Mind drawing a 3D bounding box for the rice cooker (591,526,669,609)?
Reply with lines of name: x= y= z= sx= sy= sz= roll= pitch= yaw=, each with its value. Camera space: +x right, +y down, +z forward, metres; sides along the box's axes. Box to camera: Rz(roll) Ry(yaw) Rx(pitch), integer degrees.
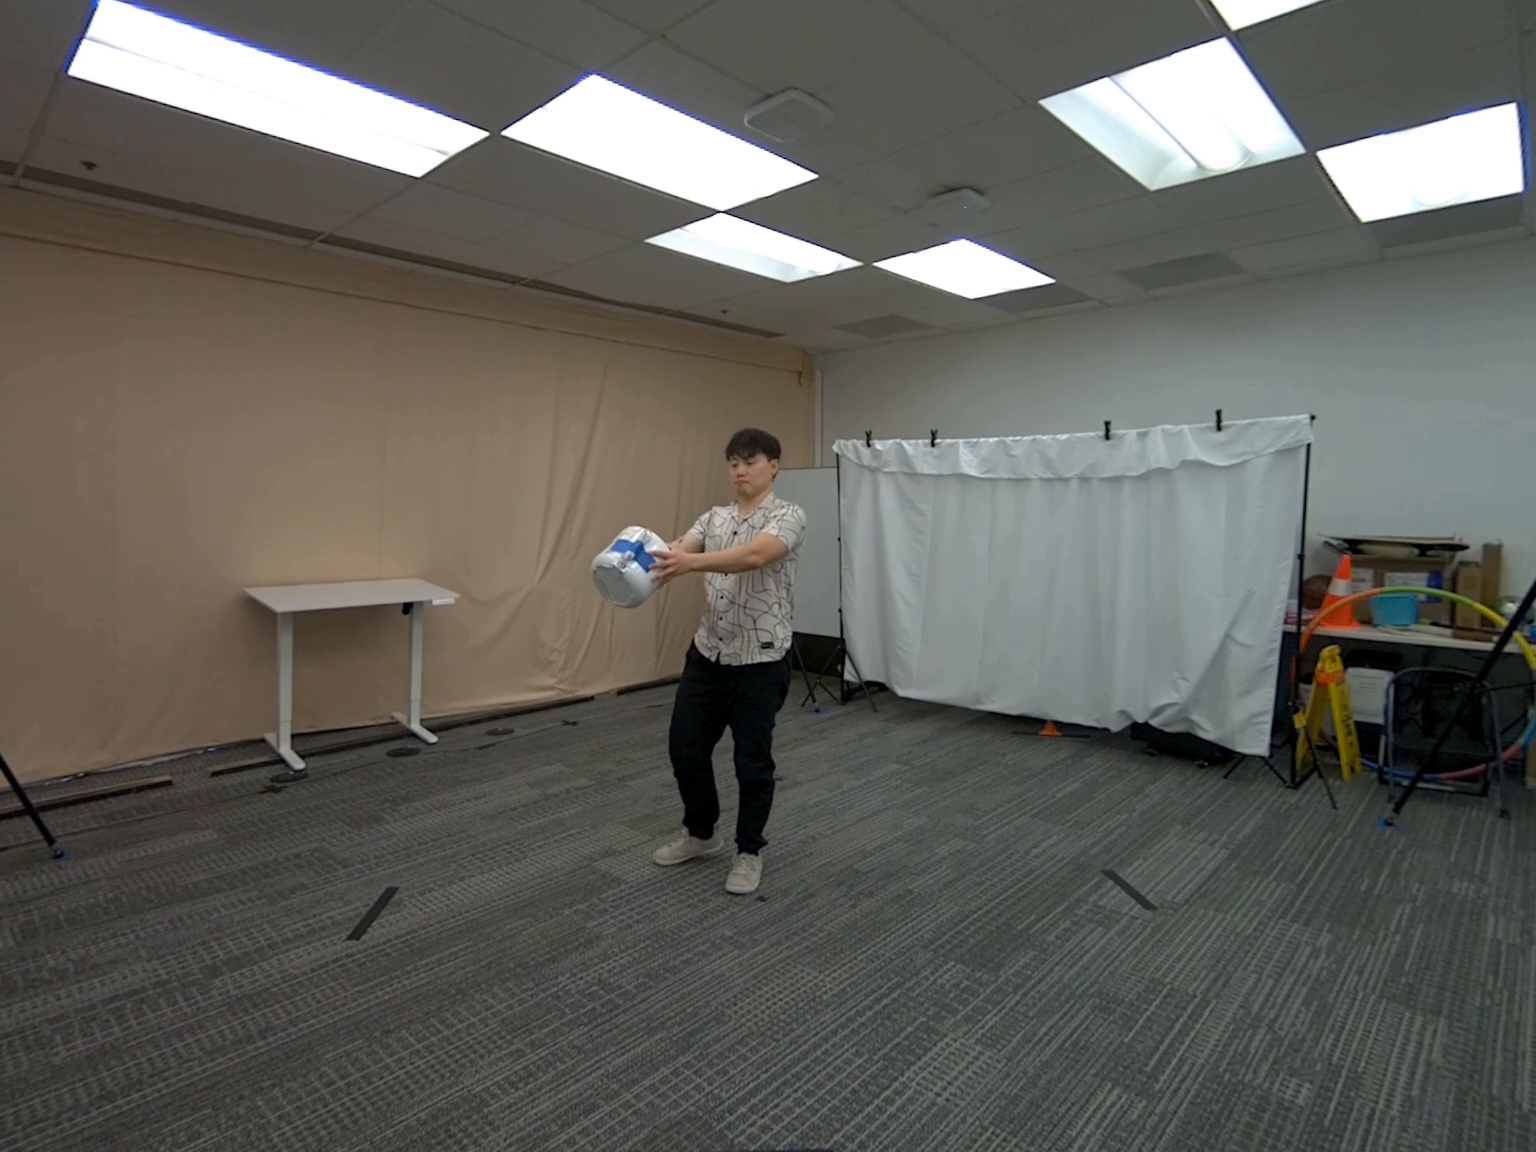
rice cooker: x=-0.431 y=-0.036 z=2.697 sx=0.224 sy=0.216 sz=0.231 roll=-2 pitch=33 yaw=41
